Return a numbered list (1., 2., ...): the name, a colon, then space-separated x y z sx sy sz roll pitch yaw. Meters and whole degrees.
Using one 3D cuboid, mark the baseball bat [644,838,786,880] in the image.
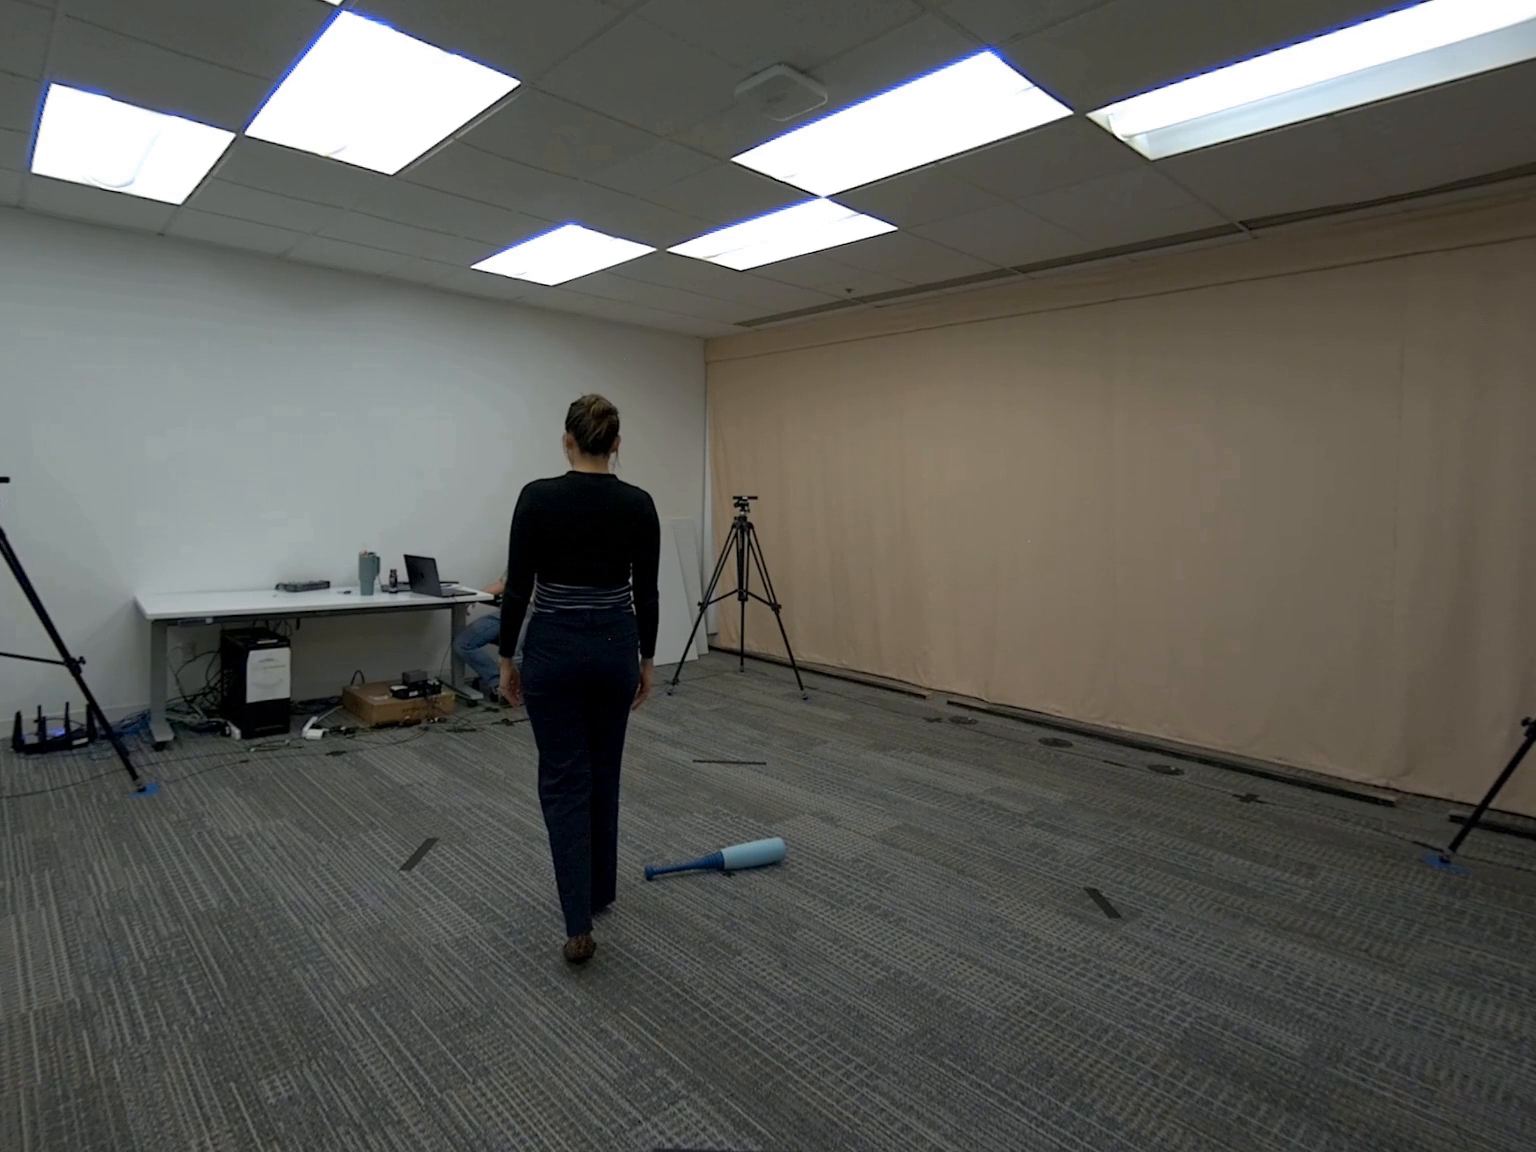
1. baseball bat: -0.199 1.066 3.130 0.536 0.089 0.090 -5 6 -19
